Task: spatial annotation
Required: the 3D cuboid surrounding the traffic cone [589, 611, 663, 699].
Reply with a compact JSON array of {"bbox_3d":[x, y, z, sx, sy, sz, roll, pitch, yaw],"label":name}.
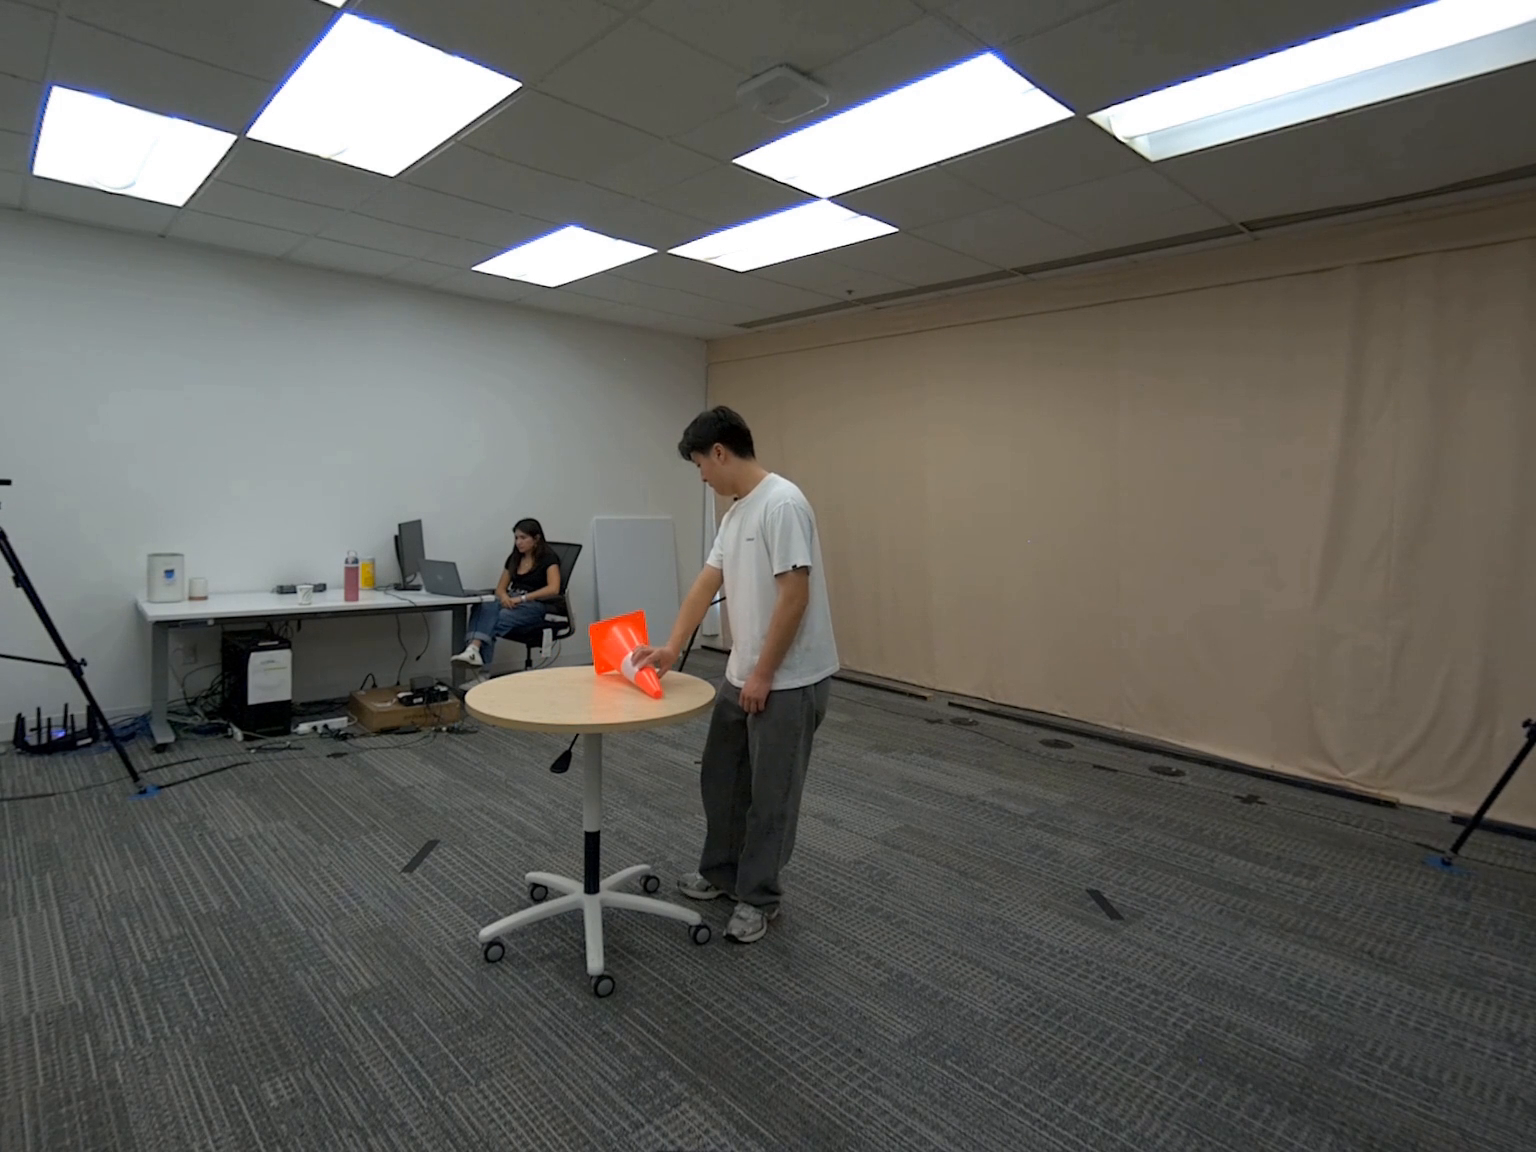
[{"bbox_3d":[-0.417,0.289,2.700,0.201,0.201,0.395,-15,25,-22],"label":"traffic cone"}]
